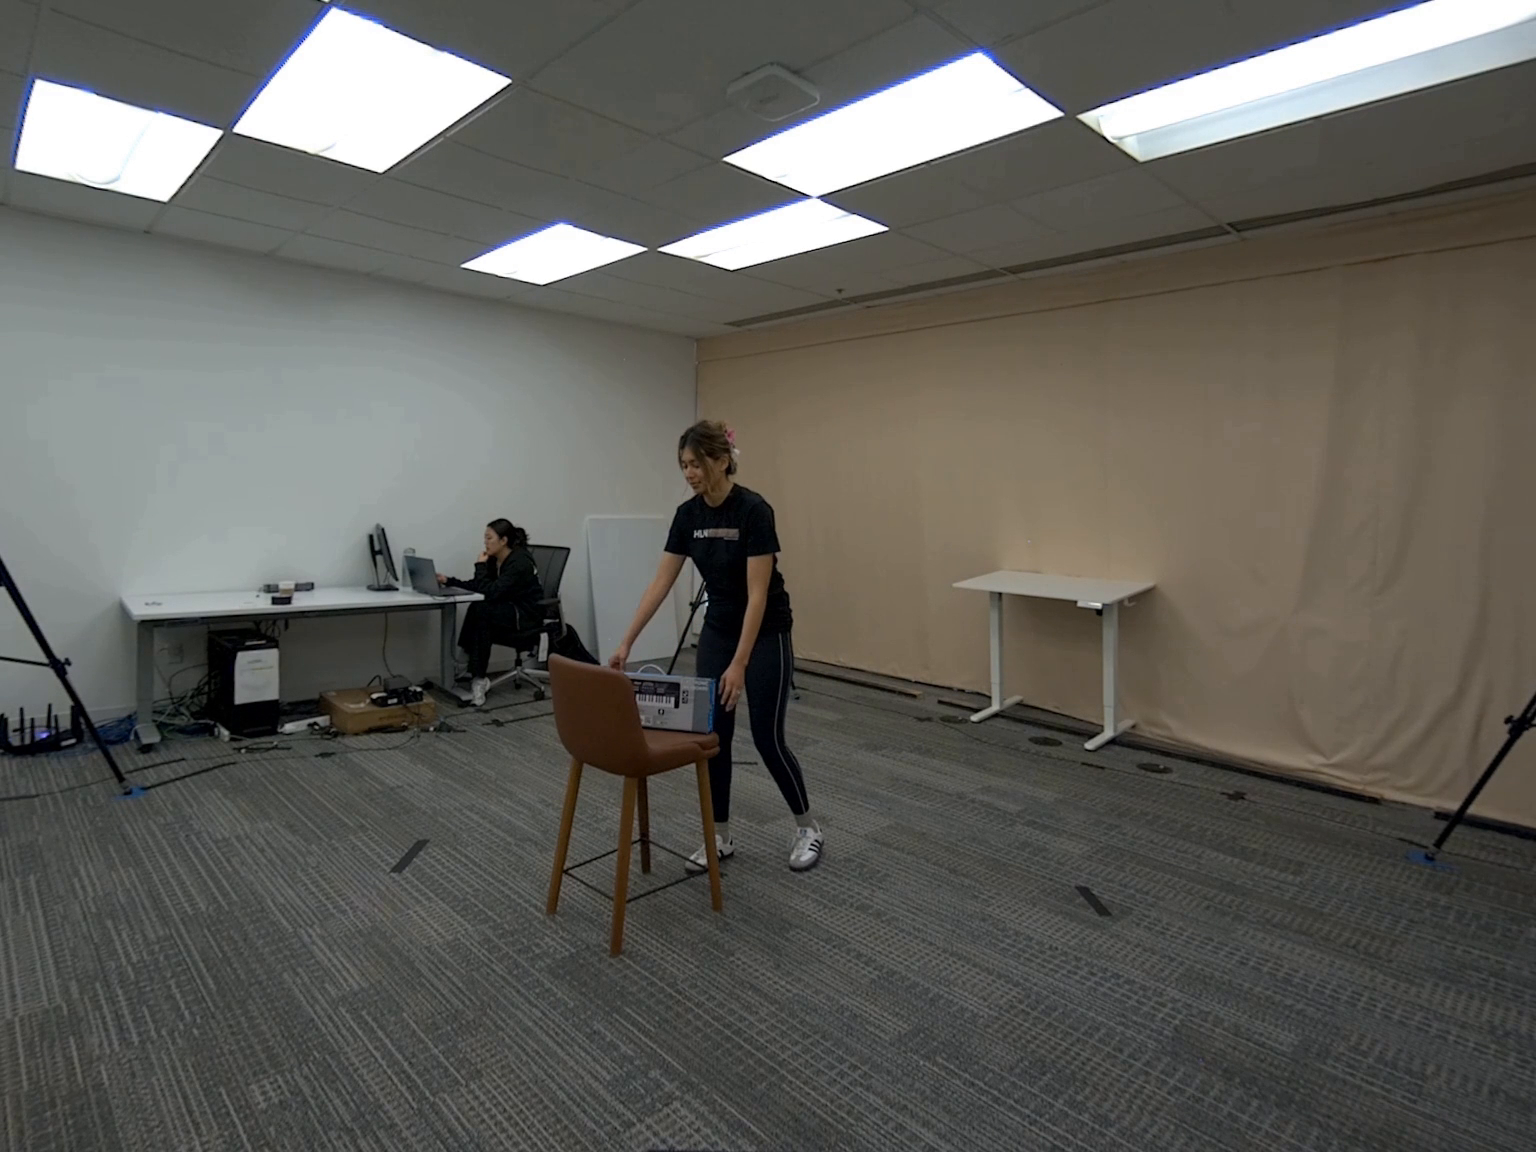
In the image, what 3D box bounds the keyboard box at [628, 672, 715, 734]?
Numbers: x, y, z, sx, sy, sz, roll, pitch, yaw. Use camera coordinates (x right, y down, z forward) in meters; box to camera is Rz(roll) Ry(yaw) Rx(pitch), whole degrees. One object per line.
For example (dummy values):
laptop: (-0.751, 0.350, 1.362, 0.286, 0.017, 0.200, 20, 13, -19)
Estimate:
keyboard box: (-0.408, 0.413, 2.841, 0.442, 0.176, 0.058, 4, -3, 16)
